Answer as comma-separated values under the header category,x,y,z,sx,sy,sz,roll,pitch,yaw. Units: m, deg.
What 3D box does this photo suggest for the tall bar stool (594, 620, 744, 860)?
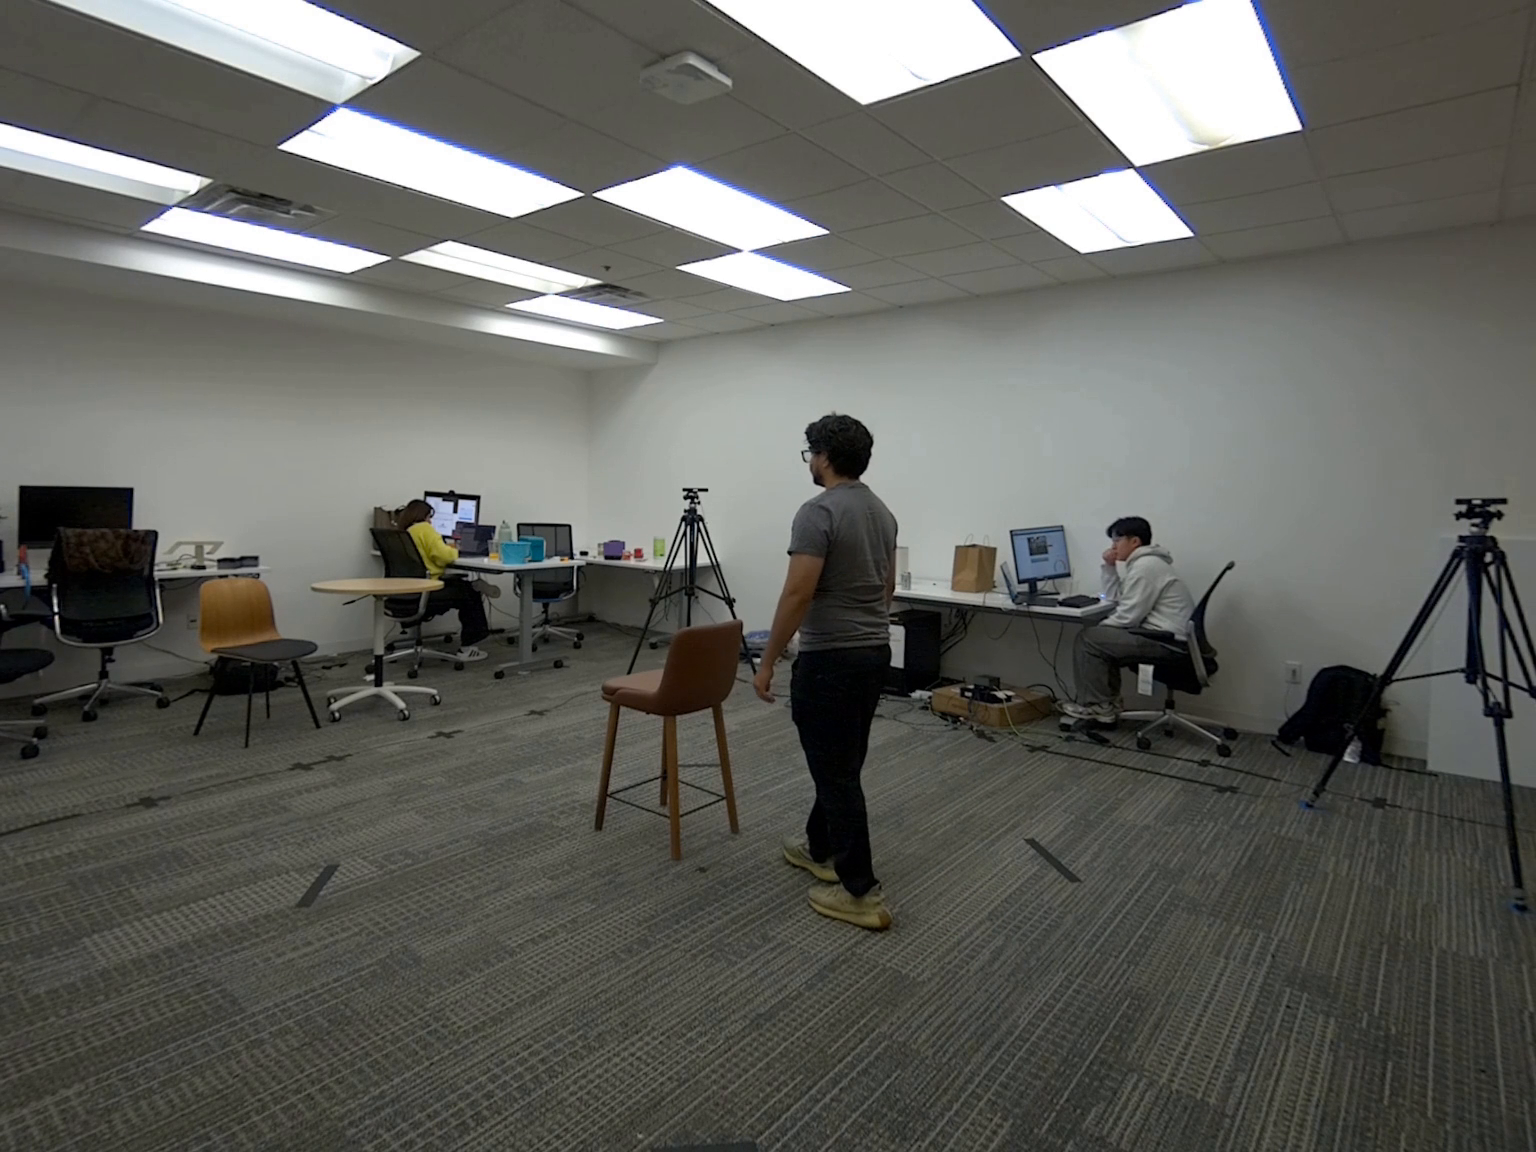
category,x,y,z,sx,sy,sz,roll,pitch,yaw
tall bar stool,-0.405,0.599,3.442,0.483,0.887,0.443,6,5,39
